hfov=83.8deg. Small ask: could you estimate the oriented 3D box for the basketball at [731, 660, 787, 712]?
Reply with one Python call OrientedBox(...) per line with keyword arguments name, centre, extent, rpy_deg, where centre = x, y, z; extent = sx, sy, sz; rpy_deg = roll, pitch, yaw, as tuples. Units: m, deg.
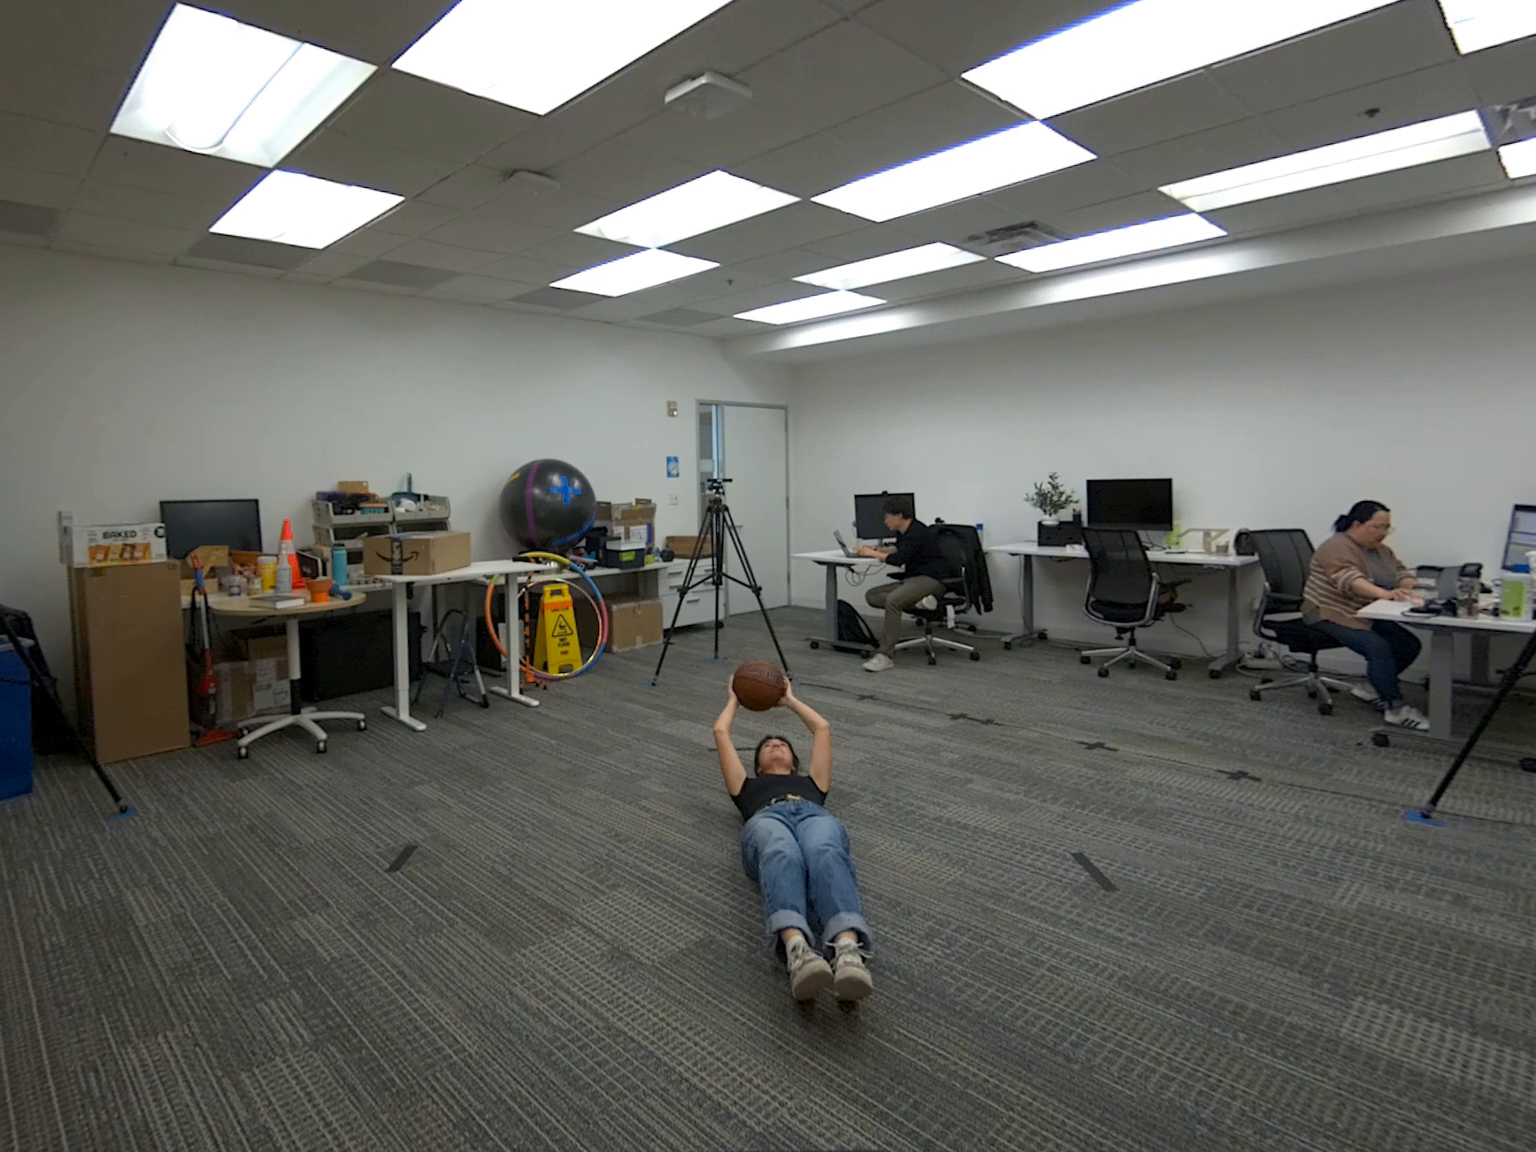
OrientedBox(name="basketball", centre=(-0.044, 0.495, 3.914), extent=(0.236, 0.235, 0.237), rpy_deg=(-1, 5, -2))
